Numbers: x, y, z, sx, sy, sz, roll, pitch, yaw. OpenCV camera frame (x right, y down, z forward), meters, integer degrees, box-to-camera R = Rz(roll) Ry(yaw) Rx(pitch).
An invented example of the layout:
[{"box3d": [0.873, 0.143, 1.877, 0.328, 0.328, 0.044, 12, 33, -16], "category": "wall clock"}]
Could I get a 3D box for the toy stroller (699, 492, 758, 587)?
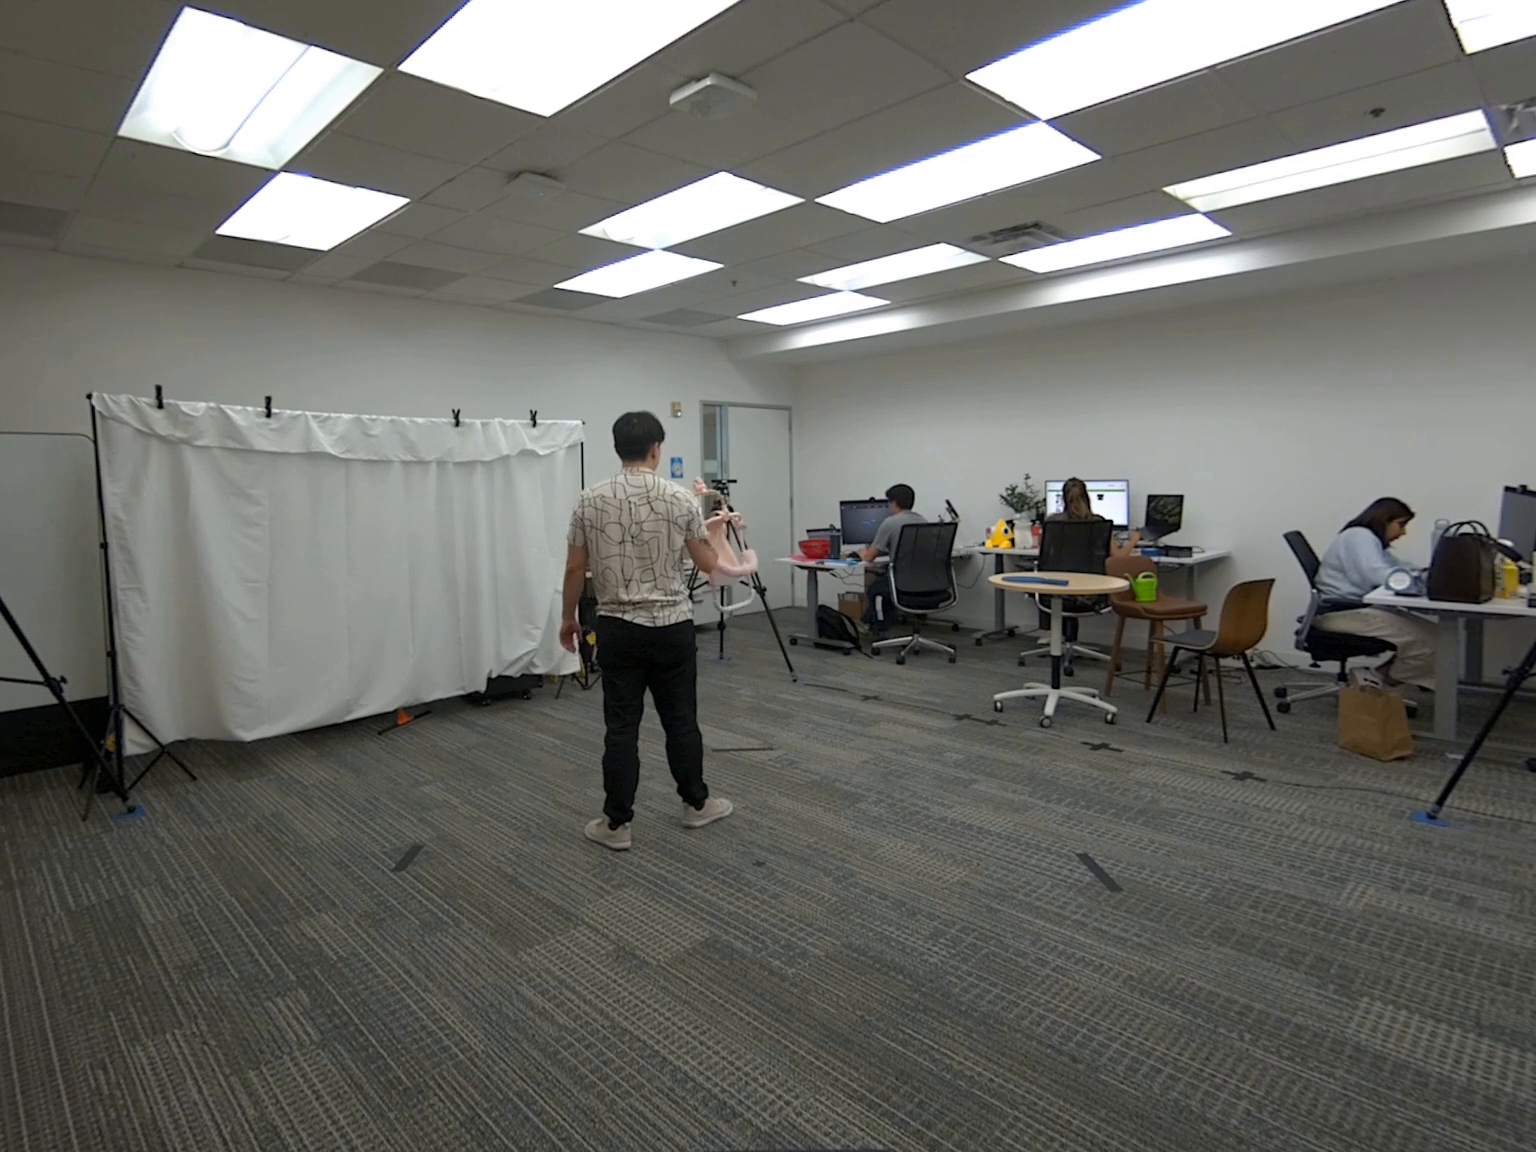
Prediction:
[{"box3d": [-0.221, -0.147, 3.742, 0.275, 0.337, 0.554, -11, 50, -35], "category": "toy stroller"}]
